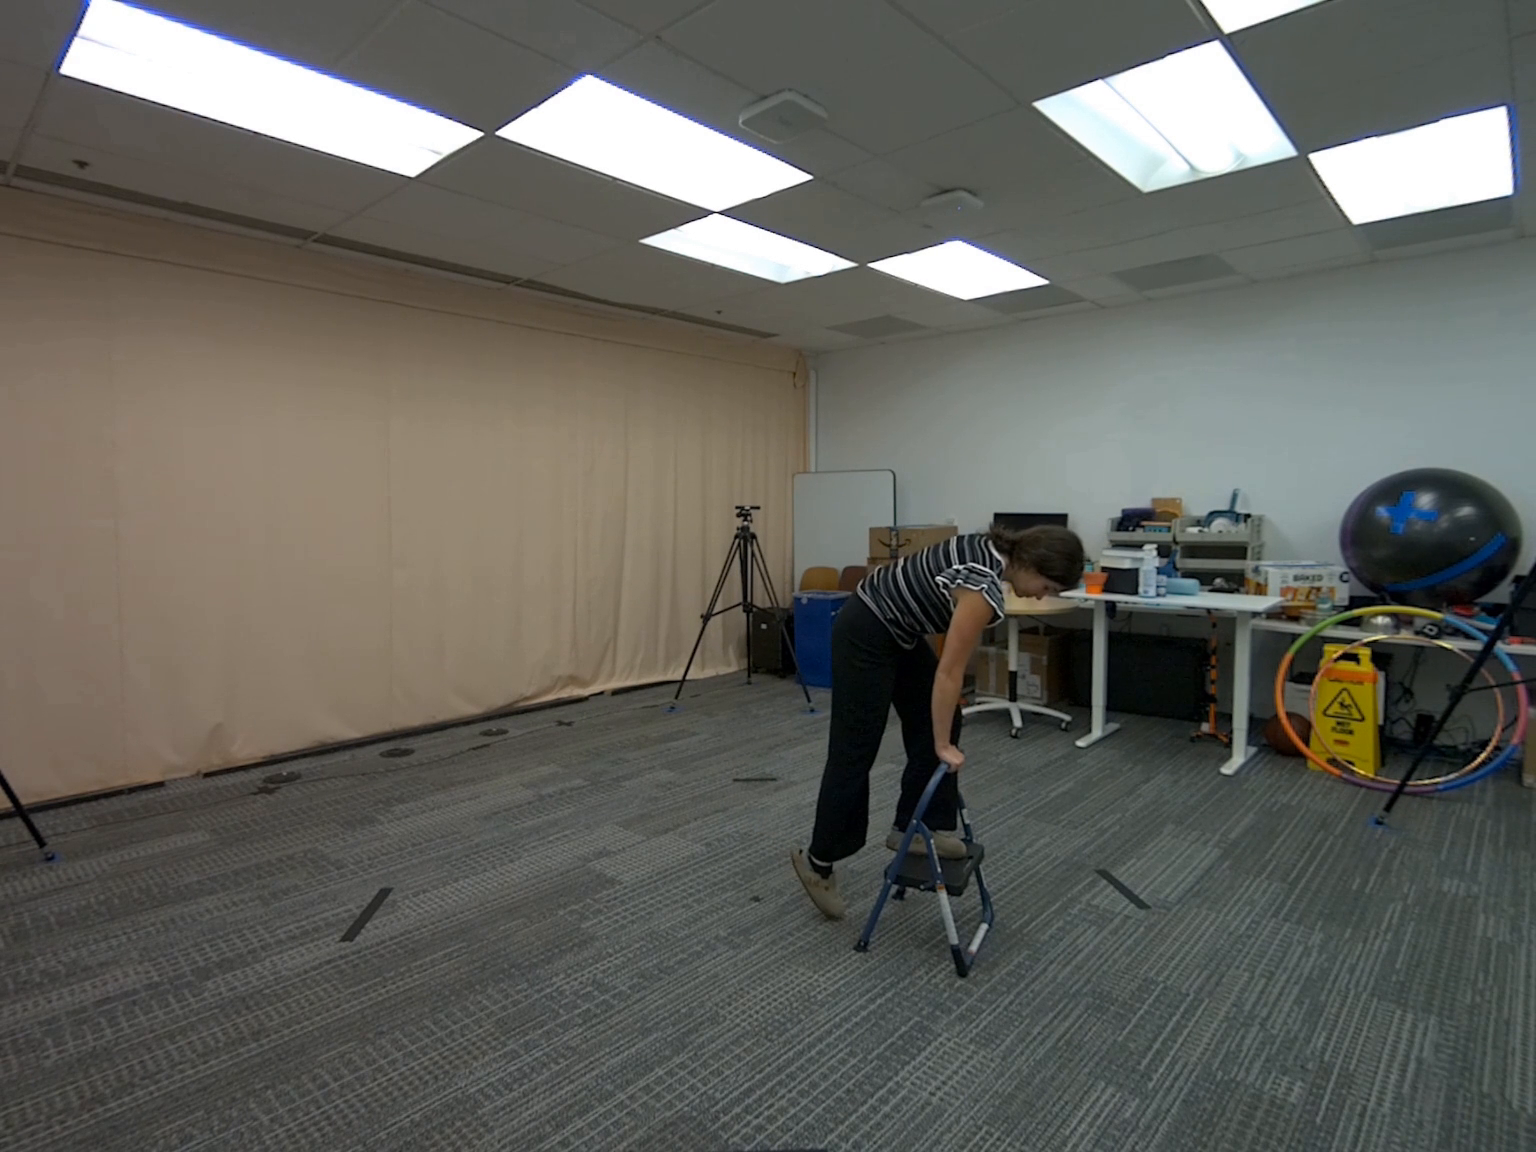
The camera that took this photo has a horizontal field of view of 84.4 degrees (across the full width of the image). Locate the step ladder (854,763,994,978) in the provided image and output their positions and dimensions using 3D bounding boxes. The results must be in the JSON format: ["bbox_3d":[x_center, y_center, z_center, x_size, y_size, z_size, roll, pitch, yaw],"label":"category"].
[{"bbox_3d":[0.520,0.865,2.719,0.359,0.604,0.420,1,4,27],"label":"step ladder"}]
